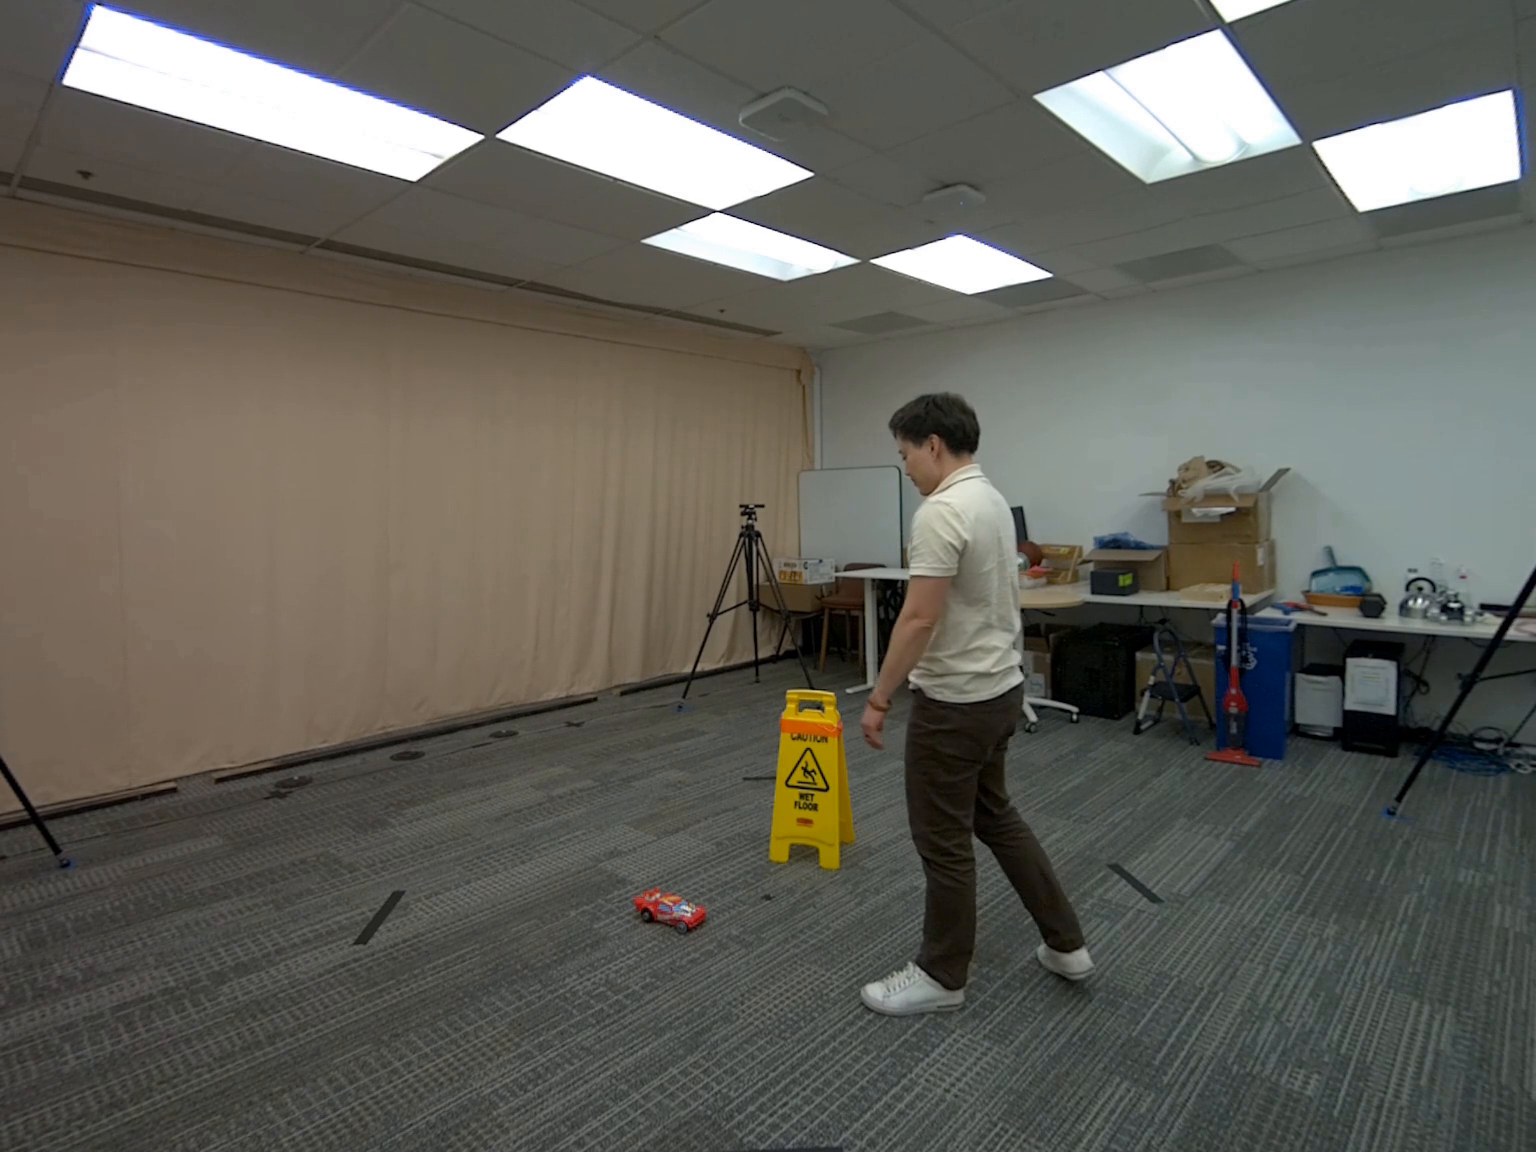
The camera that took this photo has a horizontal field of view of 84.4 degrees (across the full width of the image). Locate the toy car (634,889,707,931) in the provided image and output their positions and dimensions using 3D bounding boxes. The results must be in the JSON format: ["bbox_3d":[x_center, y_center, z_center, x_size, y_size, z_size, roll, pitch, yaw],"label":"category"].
[{"bbox_3d":[-0.335,1.128,2.836,0.263,0.083,0.127,14,13,32],"label":"toy car"}]
